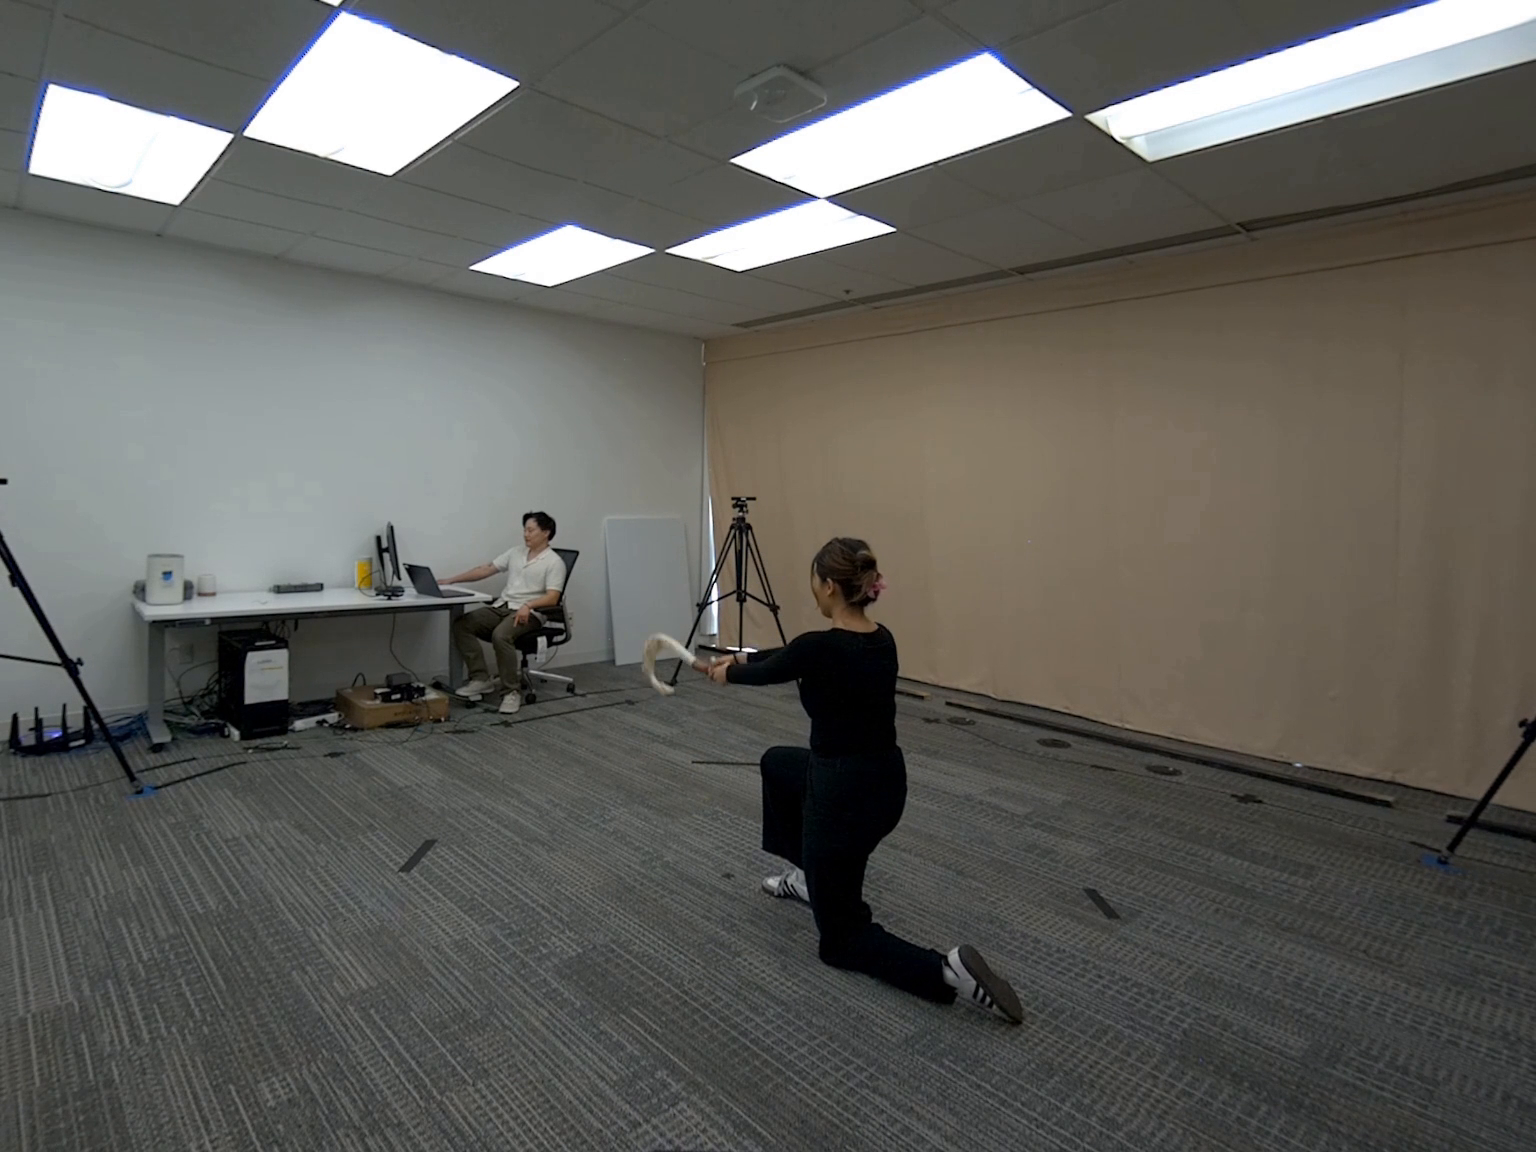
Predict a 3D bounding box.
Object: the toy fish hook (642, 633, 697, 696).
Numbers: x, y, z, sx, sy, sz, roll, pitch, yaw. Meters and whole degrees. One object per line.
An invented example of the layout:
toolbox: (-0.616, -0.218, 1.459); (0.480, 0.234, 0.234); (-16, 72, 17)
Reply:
toy fish hook: (-0.298, 0.350, 3.168); (0.521, 0.223, 0.047); (14, 13, 43)
